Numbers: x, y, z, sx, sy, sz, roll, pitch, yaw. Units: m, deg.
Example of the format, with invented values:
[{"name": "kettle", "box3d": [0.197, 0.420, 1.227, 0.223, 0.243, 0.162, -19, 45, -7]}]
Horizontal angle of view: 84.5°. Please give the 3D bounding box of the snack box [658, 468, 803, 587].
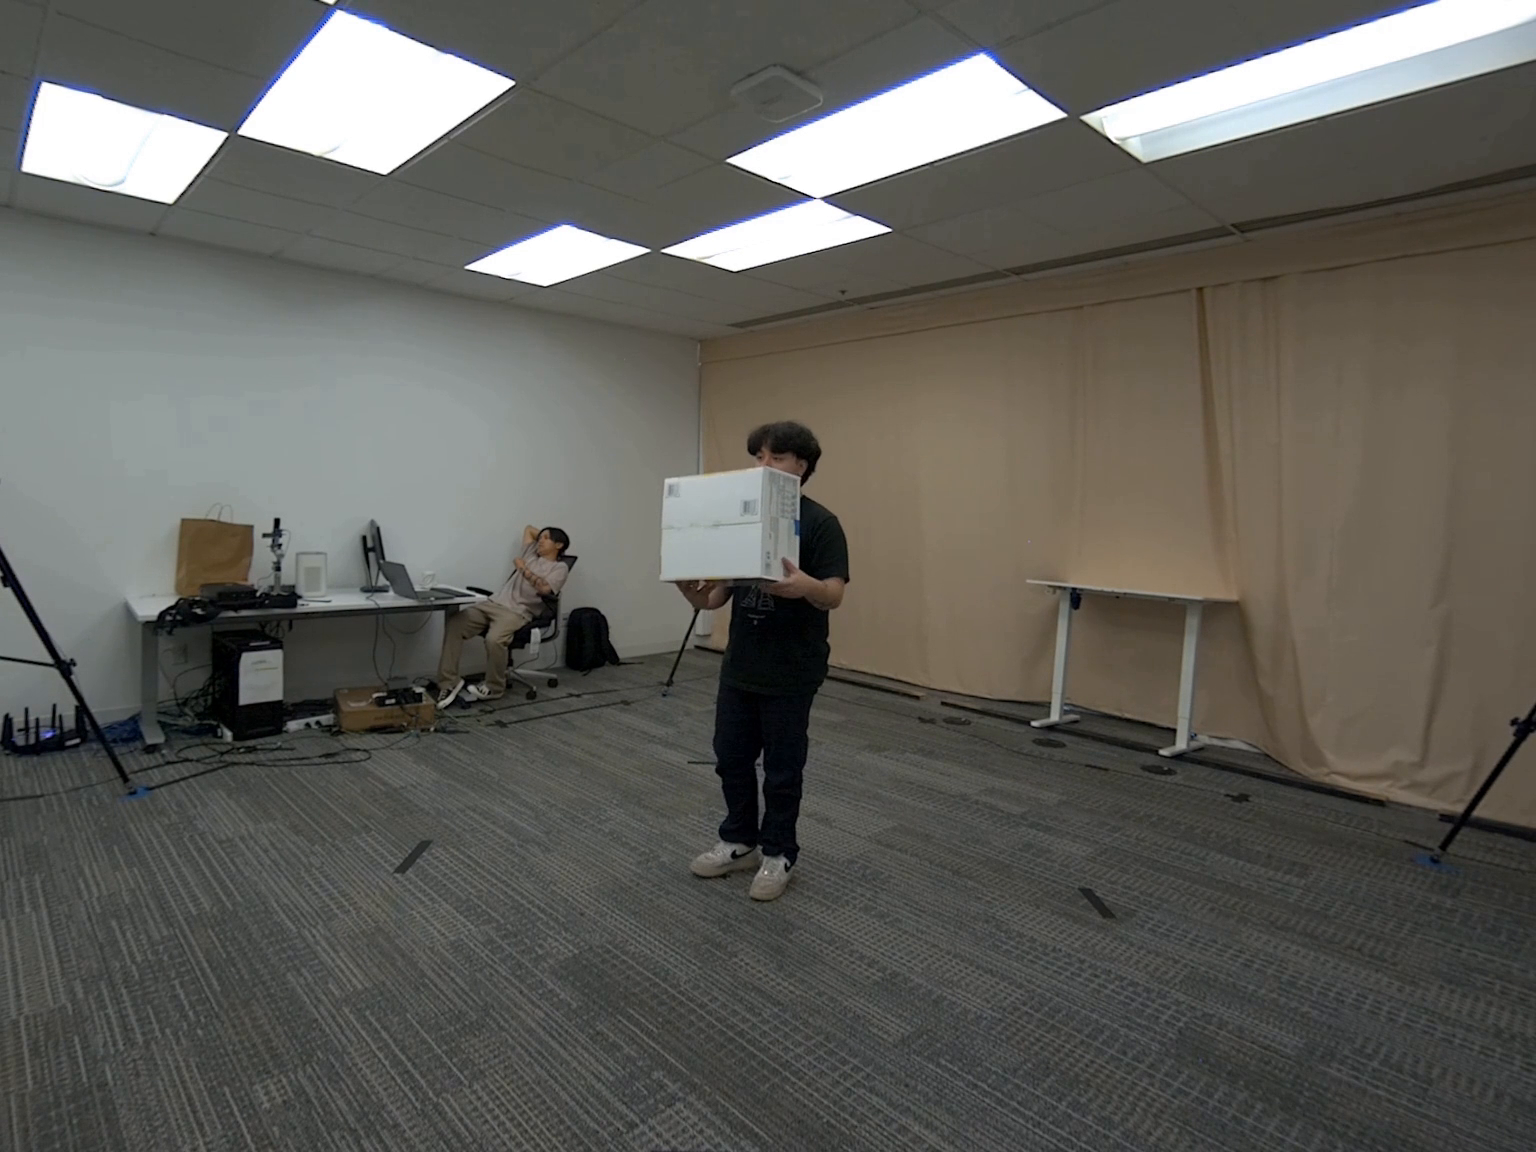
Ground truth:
[{"name": "snack box", "box3d": [-0.122, -0.139, 2.685, 0.414, 0.342, 0.200, -2, -7, 36]}]
